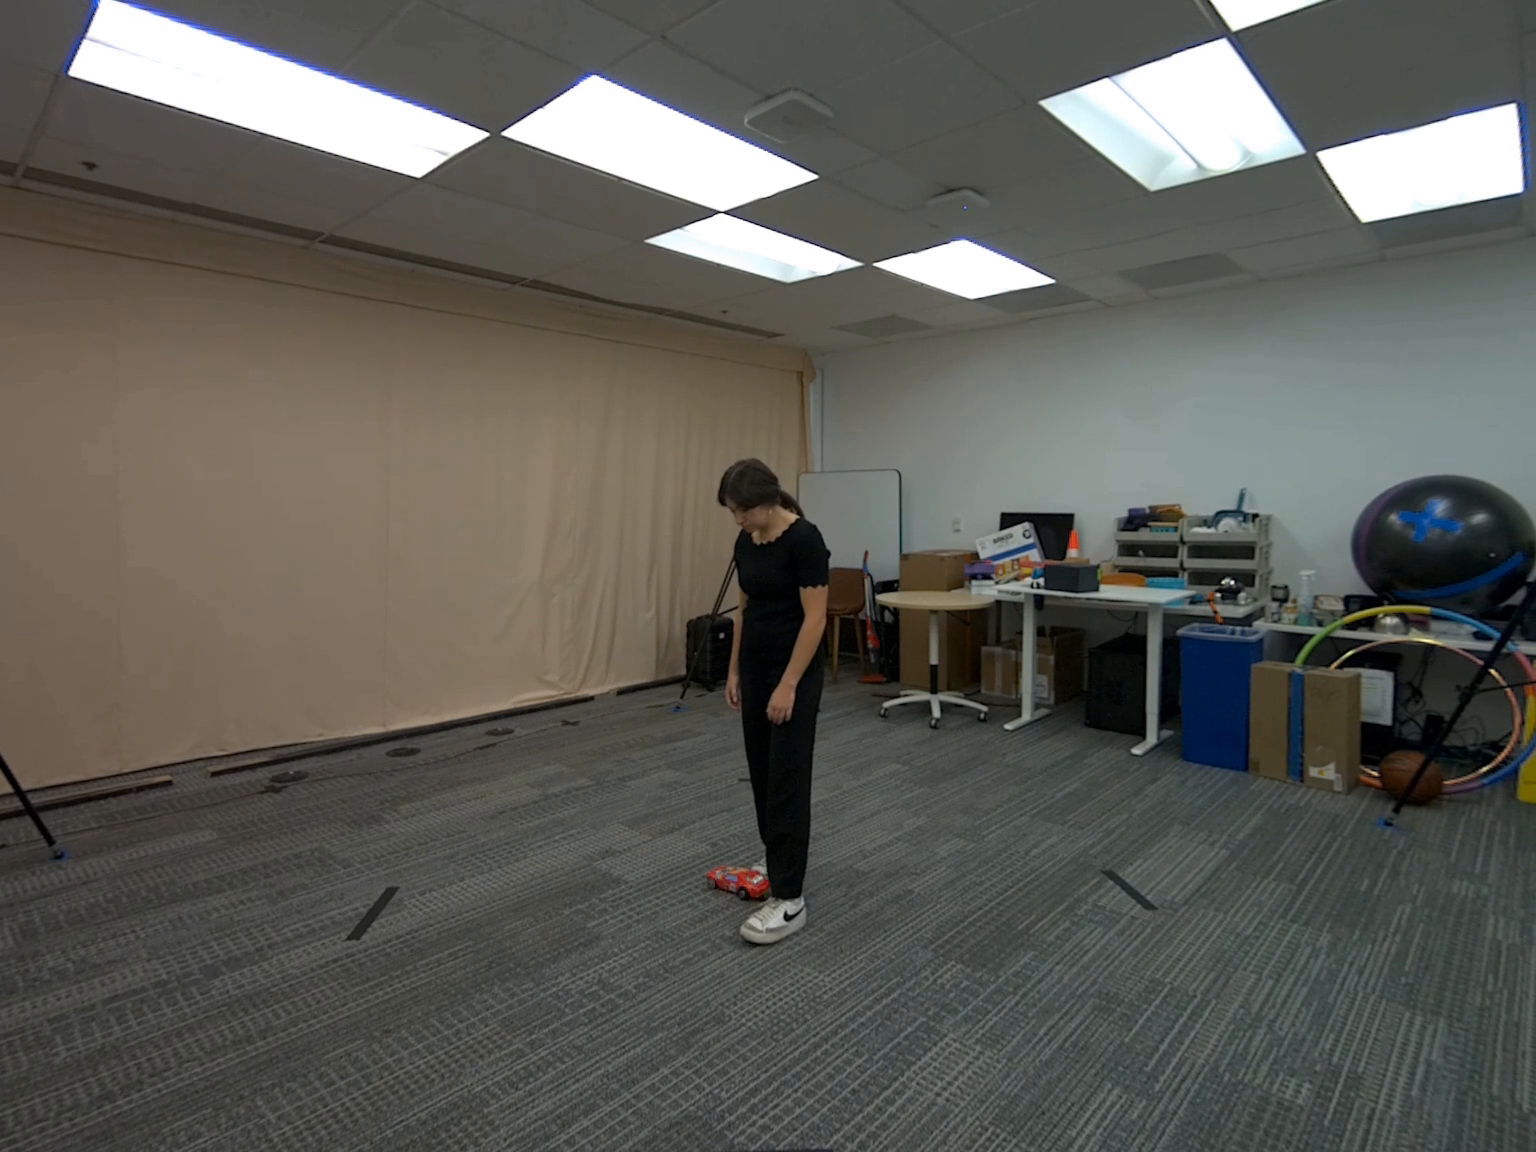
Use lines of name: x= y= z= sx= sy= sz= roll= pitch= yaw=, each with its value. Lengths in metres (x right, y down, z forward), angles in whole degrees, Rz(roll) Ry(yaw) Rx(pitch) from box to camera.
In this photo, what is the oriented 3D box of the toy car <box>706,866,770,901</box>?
toy car: x=-0.095 y=1.104 z=3.042 sx=0.262 sy=0.083 sz=0.126 roll=-9 pitch=-3 yaw=39
